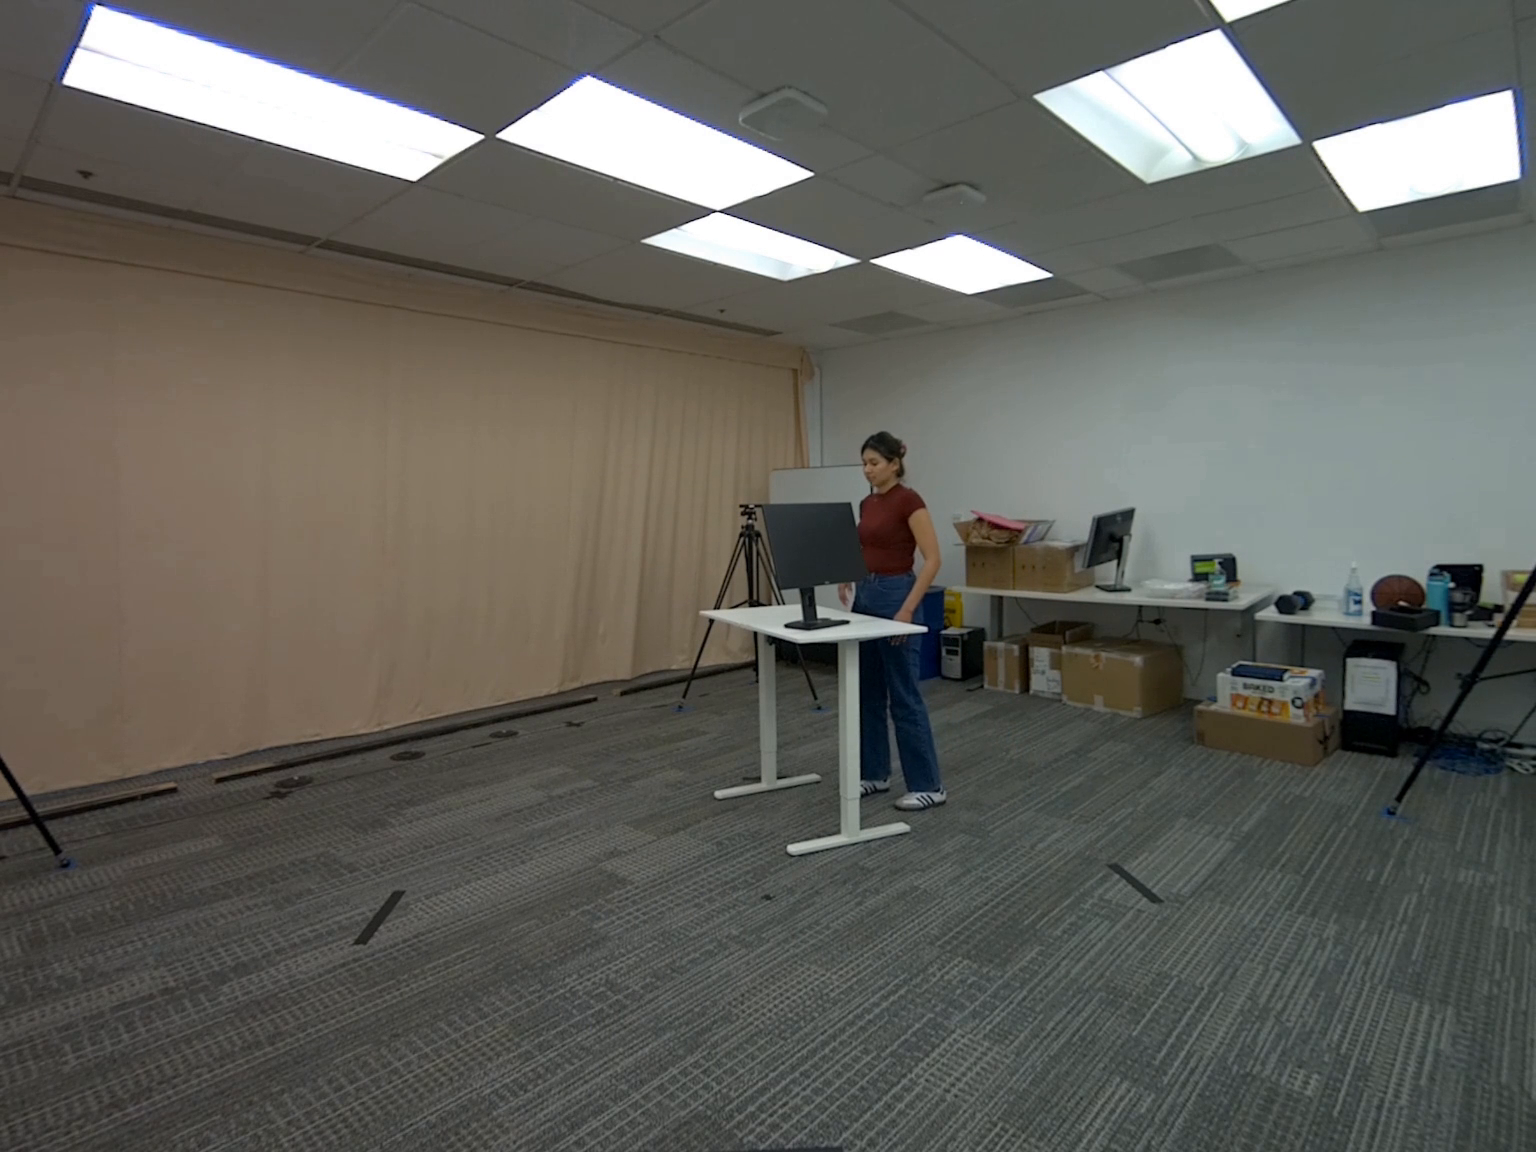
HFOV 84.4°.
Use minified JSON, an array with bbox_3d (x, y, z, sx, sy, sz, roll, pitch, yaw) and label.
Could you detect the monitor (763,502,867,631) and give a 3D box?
[{"bbox_3d":[0.195,-0.044,3.537,0.523,0.522,0.193,-5,2,-43],"label":"monitor"}]
